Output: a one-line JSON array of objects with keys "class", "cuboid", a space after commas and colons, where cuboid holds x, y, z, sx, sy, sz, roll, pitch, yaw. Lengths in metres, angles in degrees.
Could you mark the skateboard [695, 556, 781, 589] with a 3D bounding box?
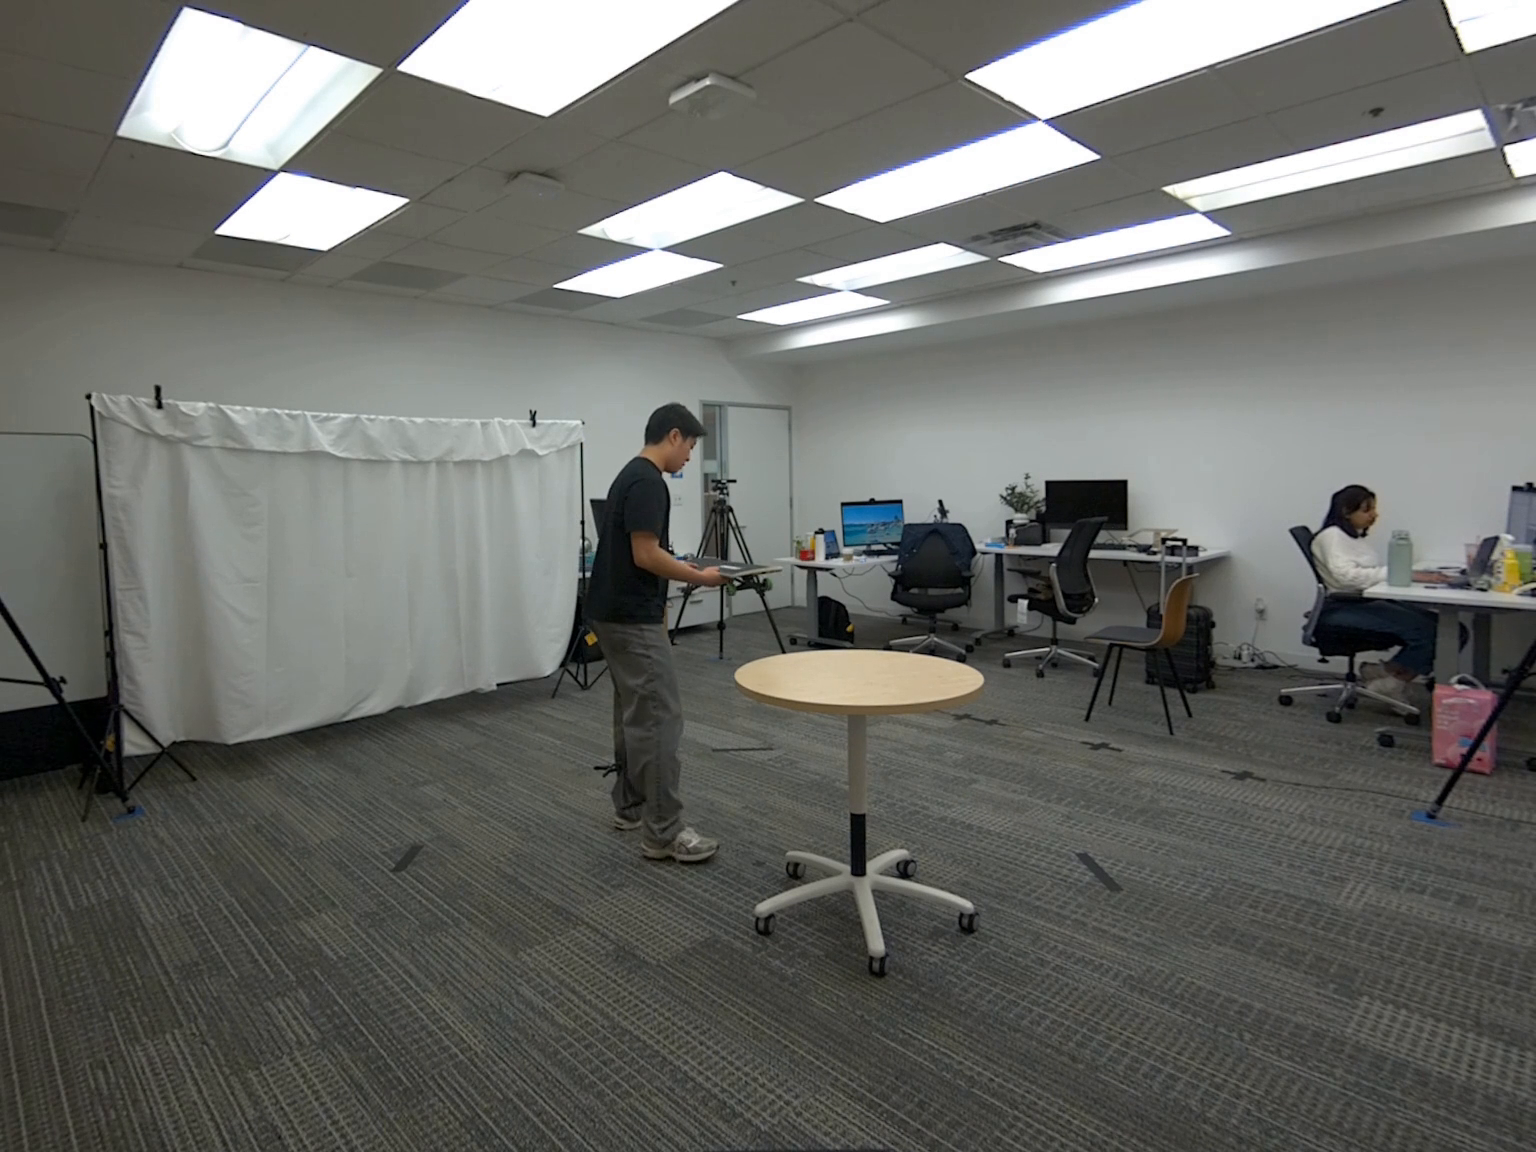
[{"class": "skateboard", "cuboid": [-0.158, 0.007, 3.464, 0.190, 0.110, 0.804, -8, 7, -25]}]
